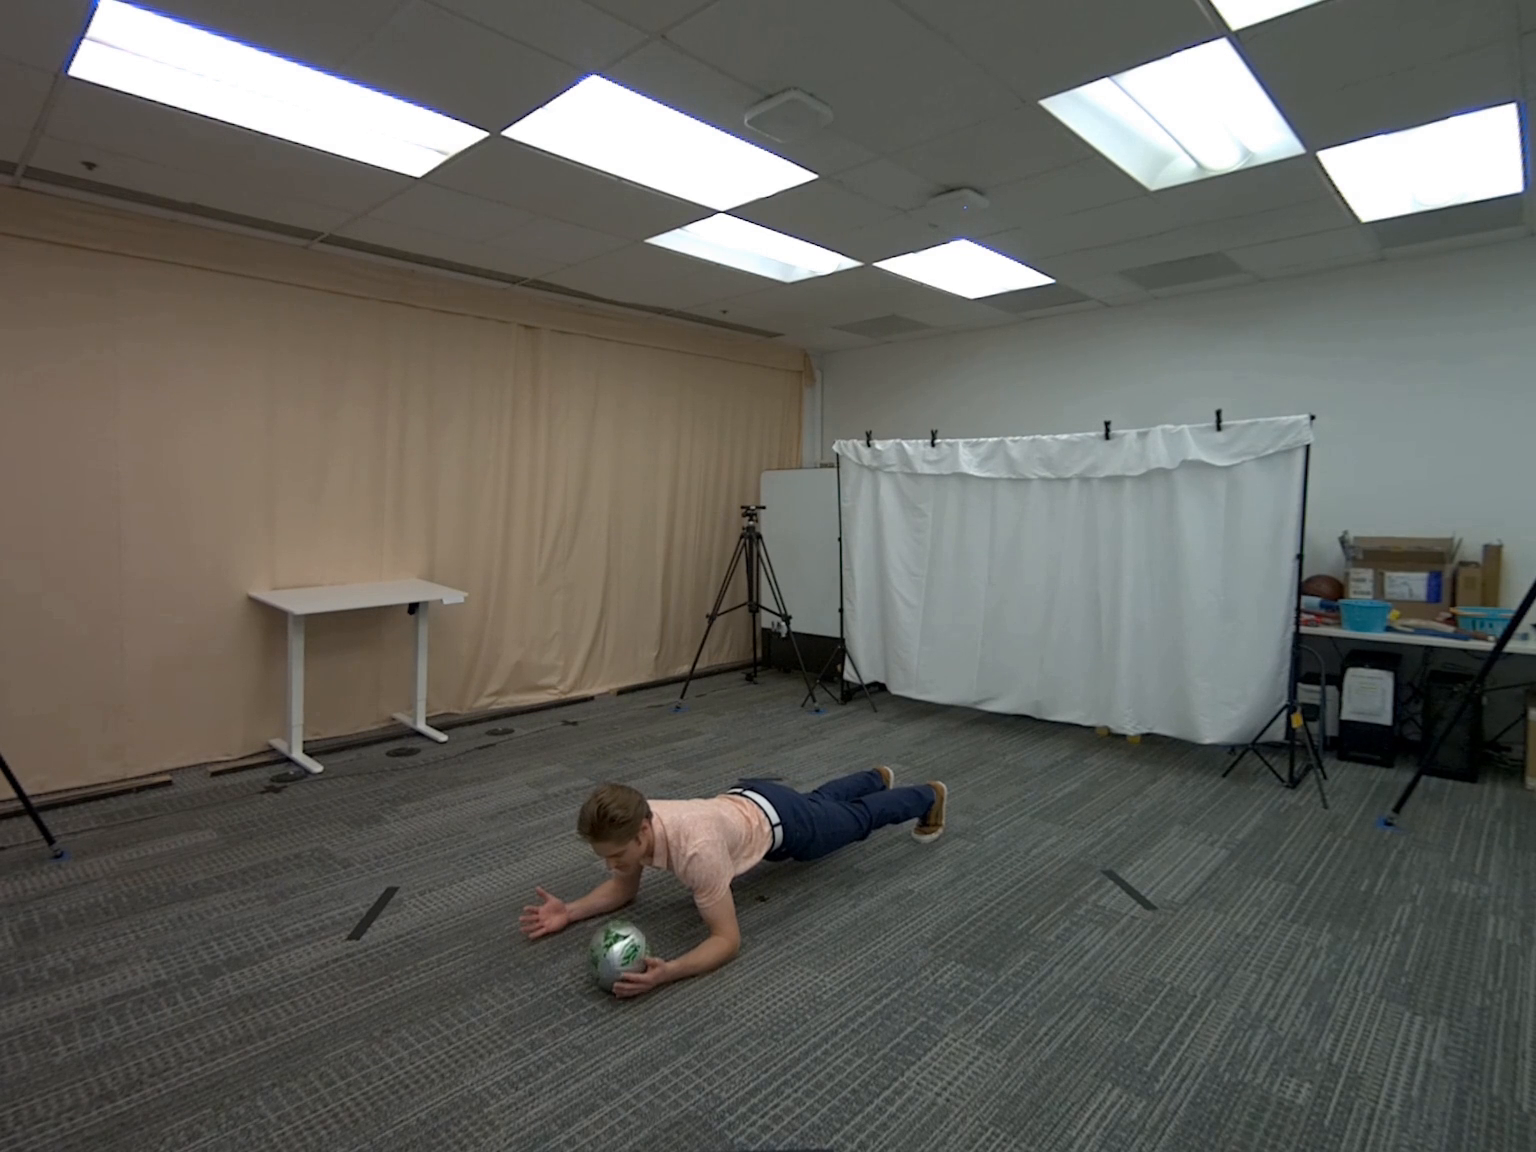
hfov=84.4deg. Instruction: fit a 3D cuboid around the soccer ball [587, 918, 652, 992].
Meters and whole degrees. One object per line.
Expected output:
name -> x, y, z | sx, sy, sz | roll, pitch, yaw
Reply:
soccer ball -> -0.447, 1.095, 2.451 | 0.187, 0.187, 0.188 | 0, 4, -2
